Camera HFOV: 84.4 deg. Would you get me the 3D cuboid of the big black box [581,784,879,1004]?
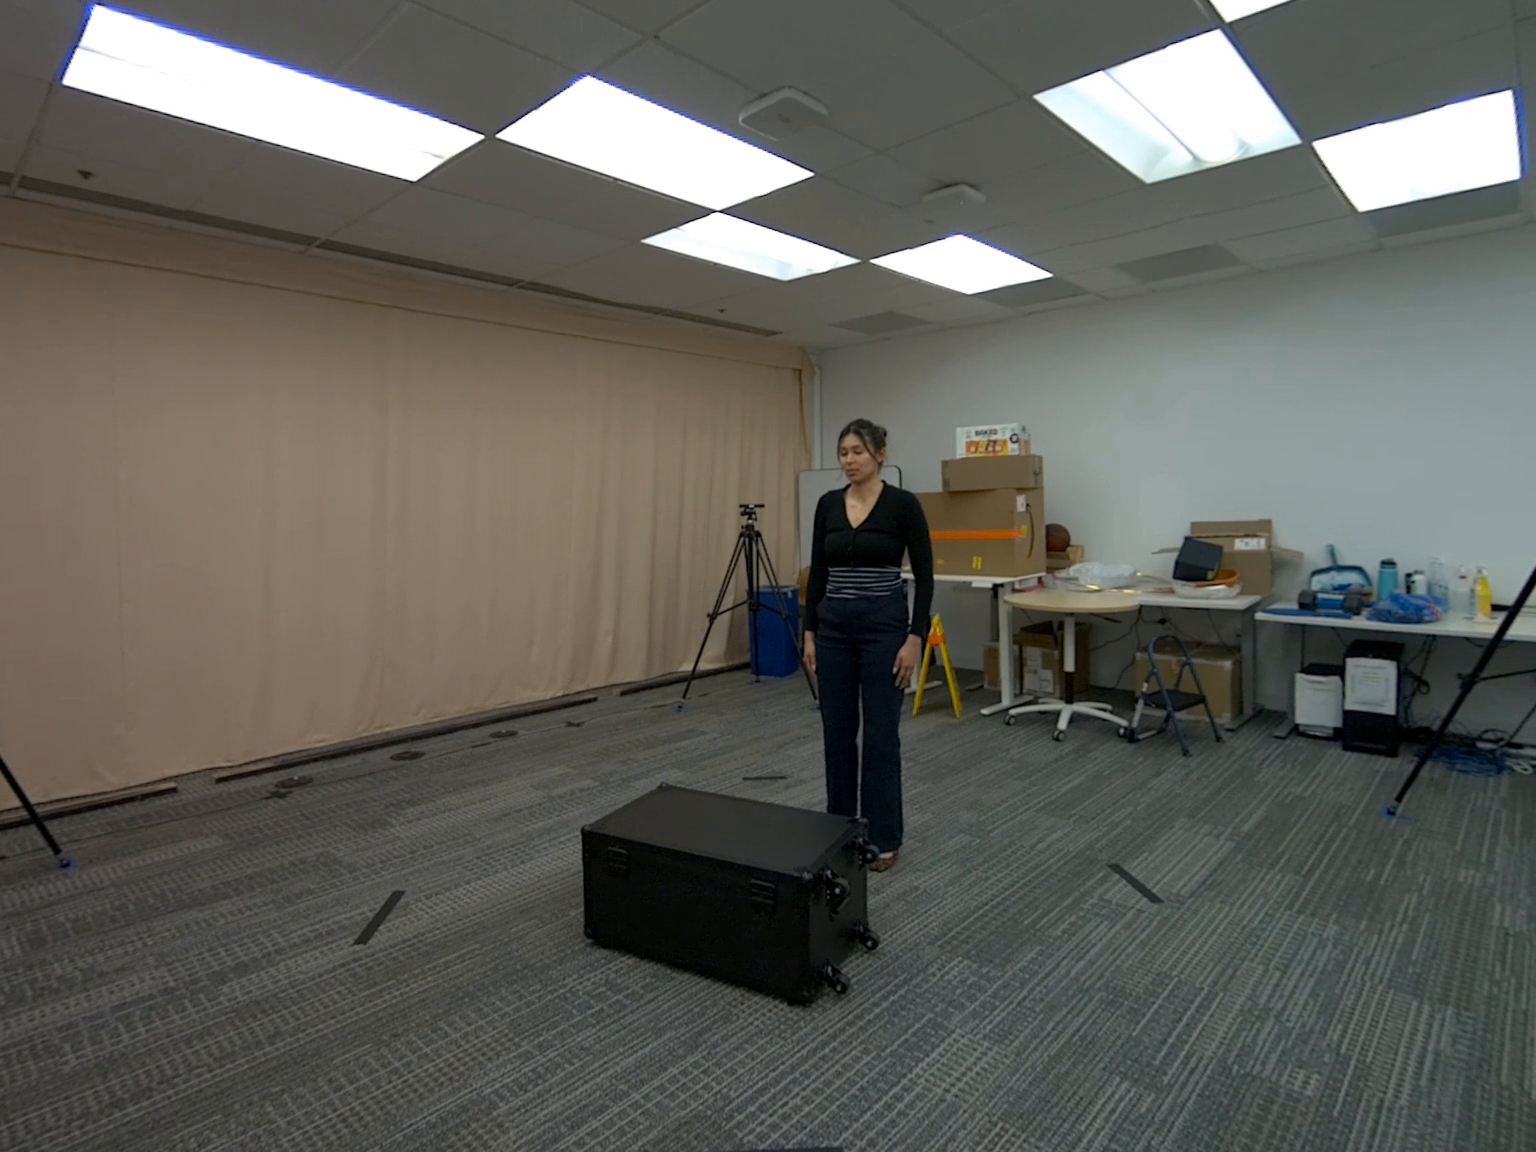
[{"bbox_3d":[-0.106,0.978,2.673,0.885,0.395,0.508,1,4,28],"label":"big black box"}]
